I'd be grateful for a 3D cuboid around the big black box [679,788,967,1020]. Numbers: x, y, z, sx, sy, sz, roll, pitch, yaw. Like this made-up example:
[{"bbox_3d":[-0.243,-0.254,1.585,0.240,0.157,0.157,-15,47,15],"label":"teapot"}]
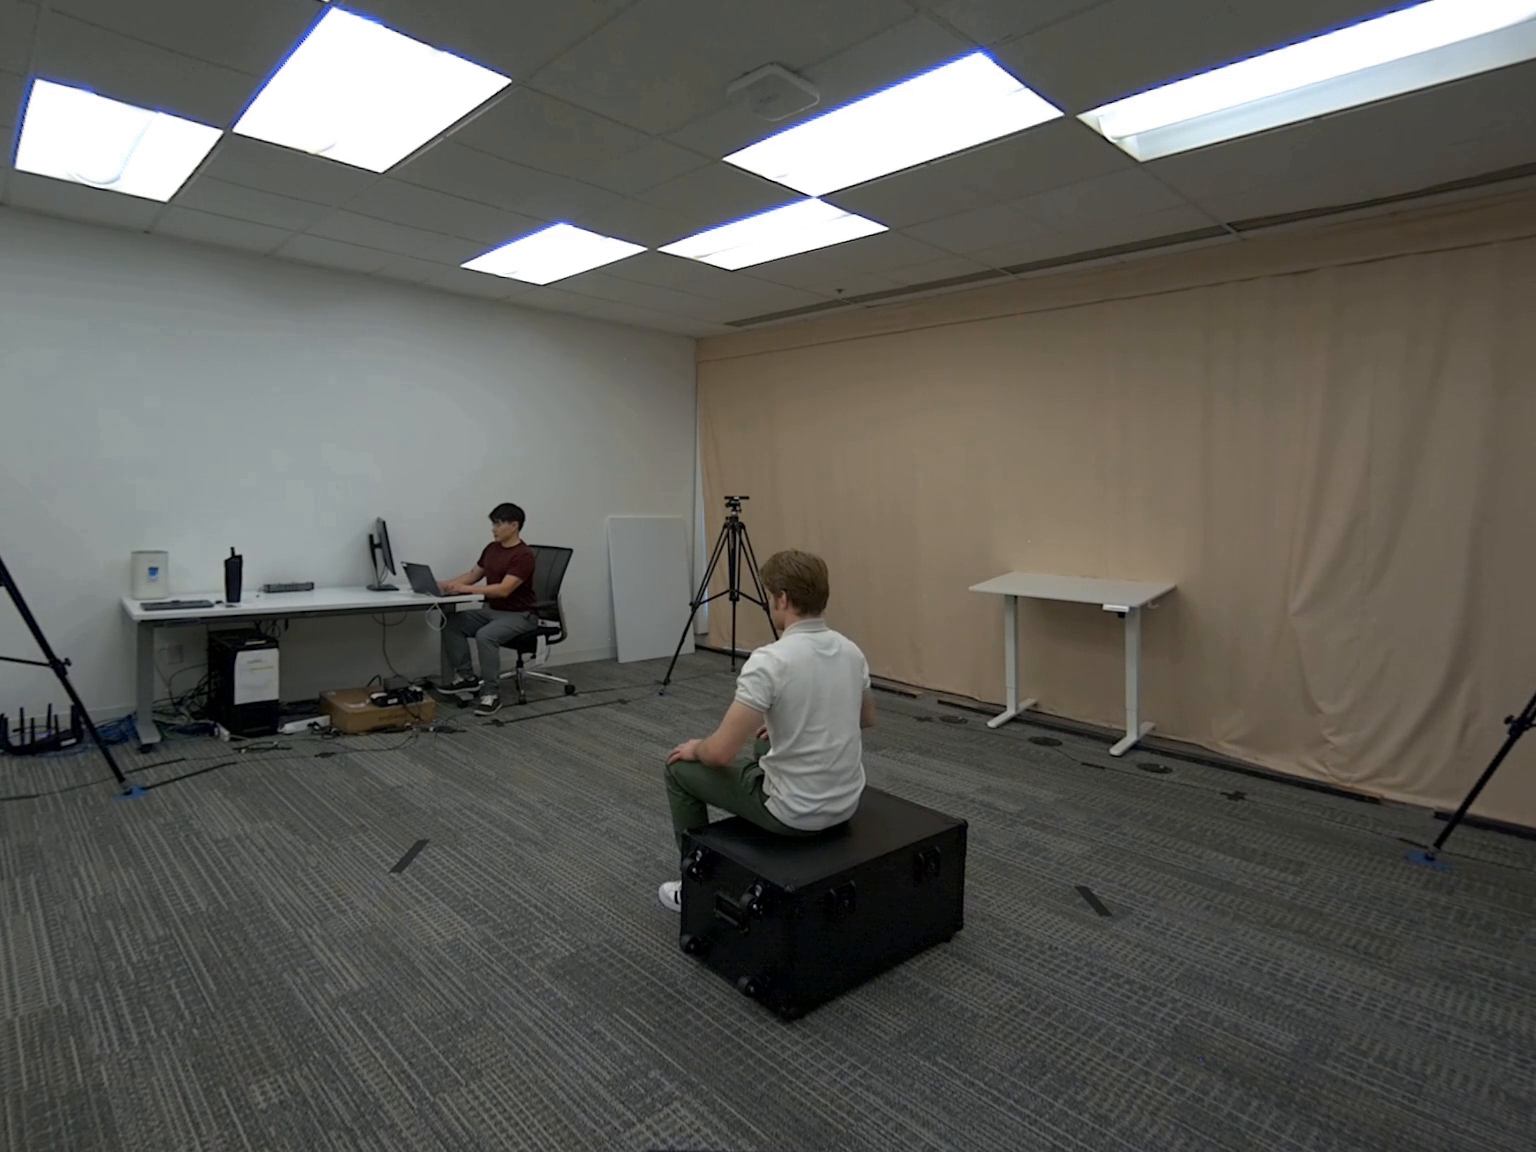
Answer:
[{"bbox_3d":[0.149,0.965,2.609,0.849,0.384,0.537,-3,7,-41],"label":"big black box"}]
